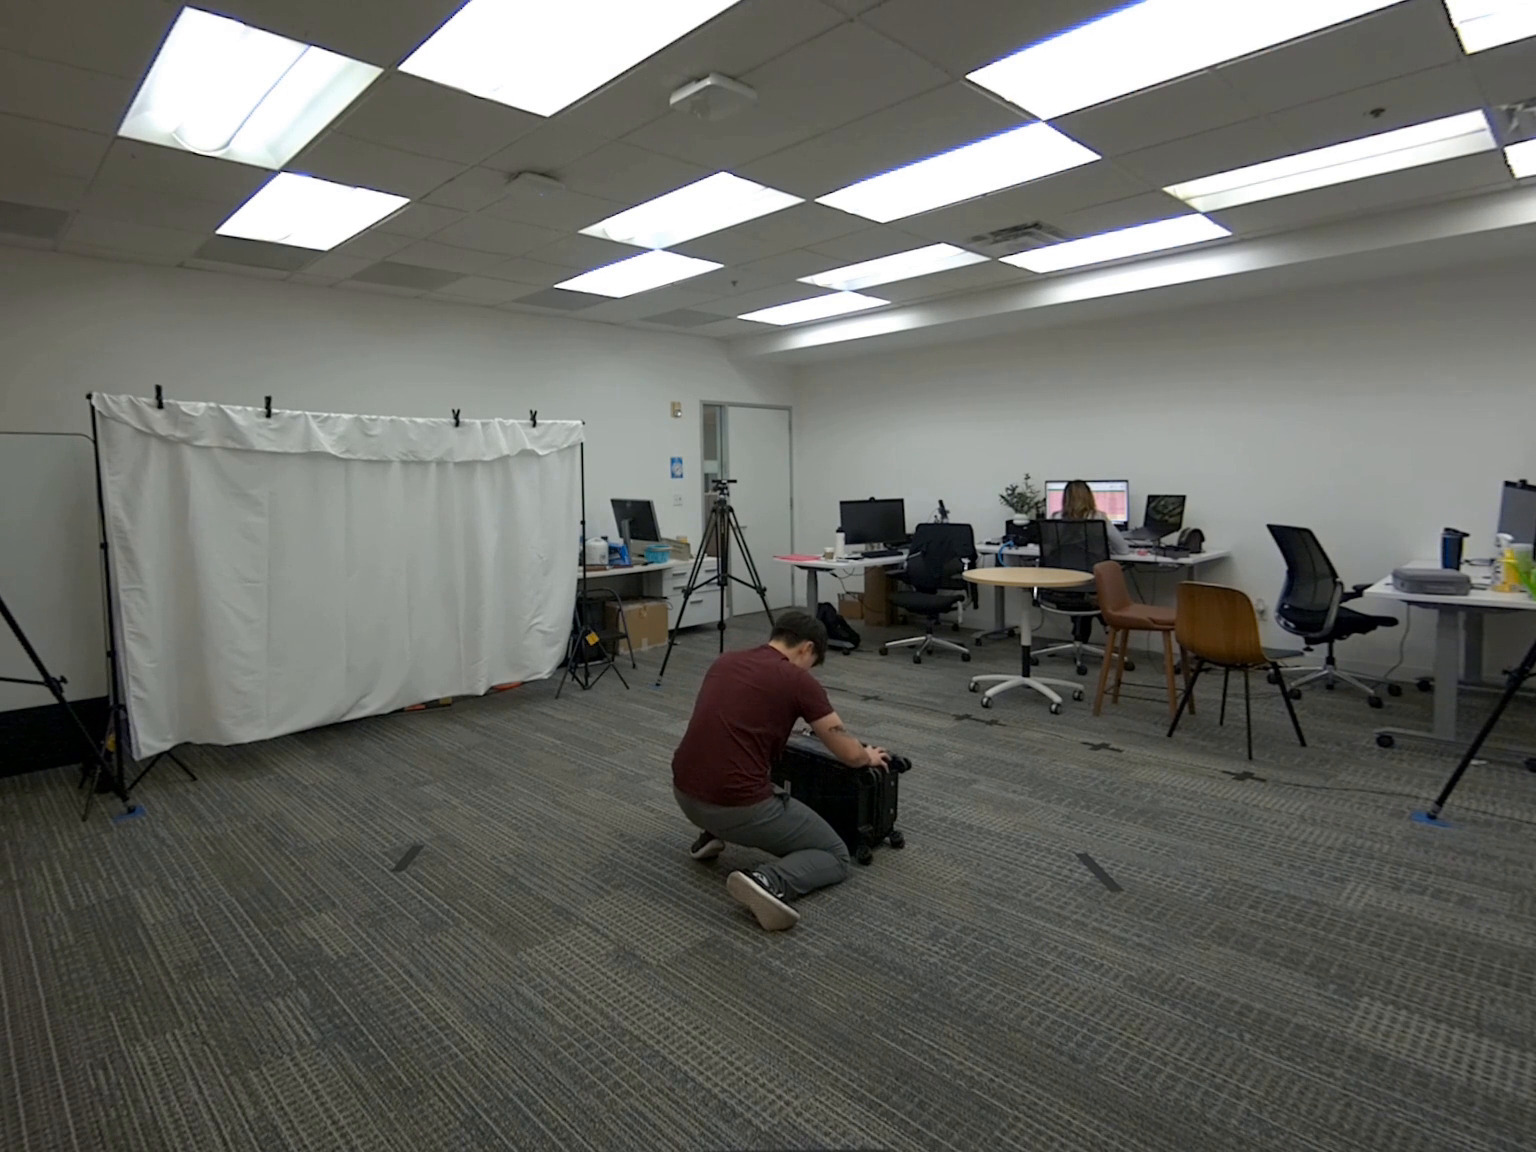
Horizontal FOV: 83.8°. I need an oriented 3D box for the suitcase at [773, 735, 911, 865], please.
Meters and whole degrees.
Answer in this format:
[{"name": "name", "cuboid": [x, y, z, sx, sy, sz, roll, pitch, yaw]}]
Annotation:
[{"name": "suitcase", "cuboid": [0.110, 0.808, 3.504, 0.249, 0.383, 1.009, 0, 4, -45]}]
